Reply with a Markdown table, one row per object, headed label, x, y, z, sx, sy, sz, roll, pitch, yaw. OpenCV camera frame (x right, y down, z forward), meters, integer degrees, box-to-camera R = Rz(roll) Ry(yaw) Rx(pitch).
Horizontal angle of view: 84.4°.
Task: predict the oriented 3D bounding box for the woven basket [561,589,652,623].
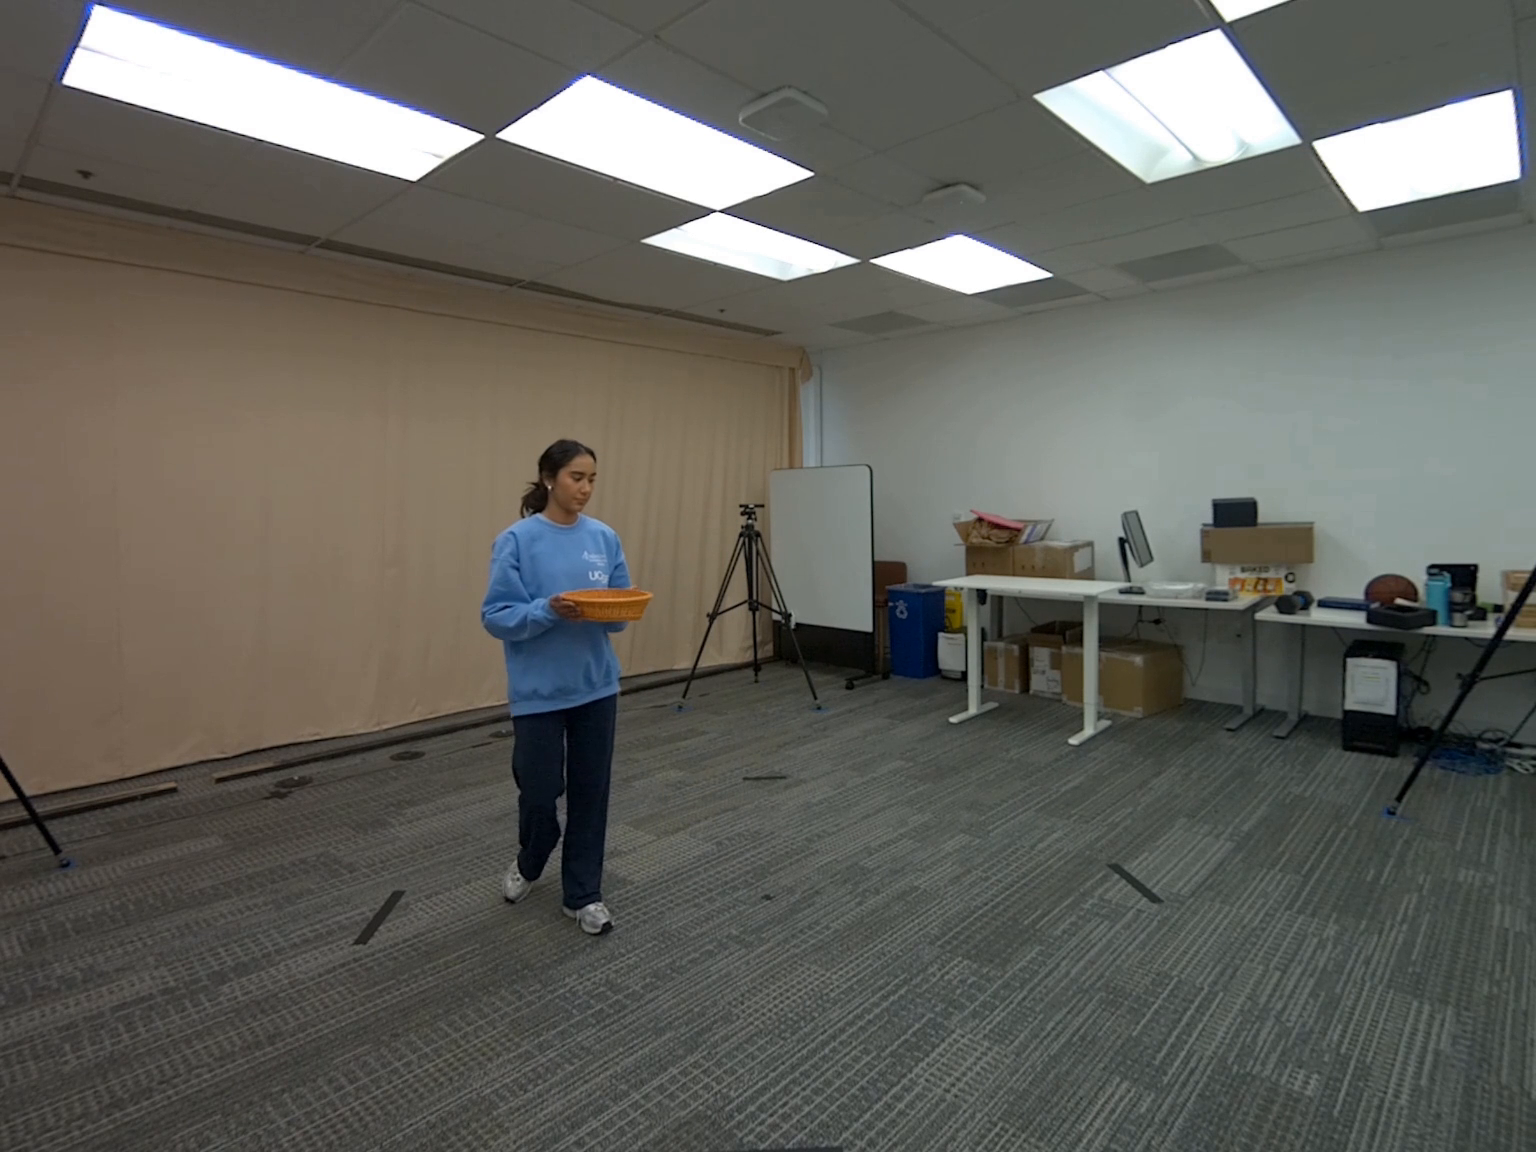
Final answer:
| label | x | y | z | sx | sy | sz | roll | pitch | yaw |
| --- | --- | --- | --- | --- | --- | --- | --- | --- | --- |
| woven basket | -0.524 | 0.101 | 2.583 | 0.245 | 0.073 | 0.361 | -6 | 6 | -35 |
